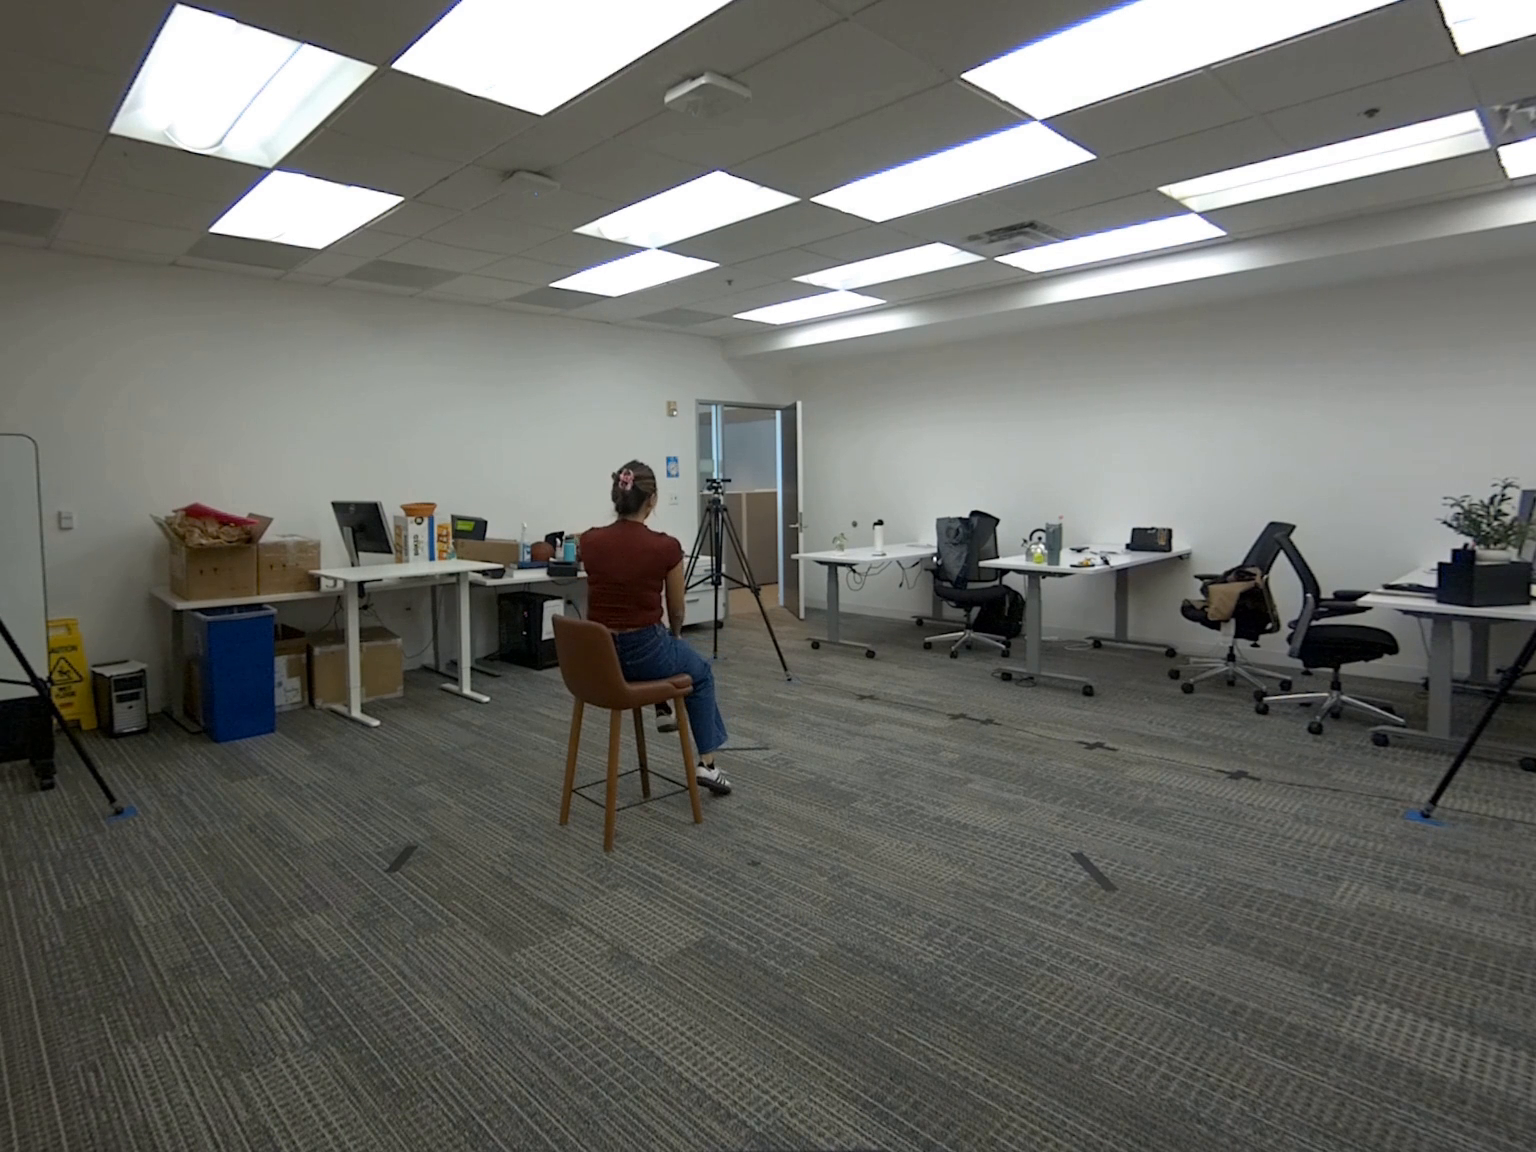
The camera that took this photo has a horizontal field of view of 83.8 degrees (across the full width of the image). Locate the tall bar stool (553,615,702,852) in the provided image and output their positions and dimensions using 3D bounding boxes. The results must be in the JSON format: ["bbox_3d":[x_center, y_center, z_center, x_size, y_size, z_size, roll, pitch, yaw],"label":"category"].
[{"bbox_3d":[-0.592,0.580,3.475,0.456,0.886,0.470,-7,6,-41],"label":"tall bar stool"}]
